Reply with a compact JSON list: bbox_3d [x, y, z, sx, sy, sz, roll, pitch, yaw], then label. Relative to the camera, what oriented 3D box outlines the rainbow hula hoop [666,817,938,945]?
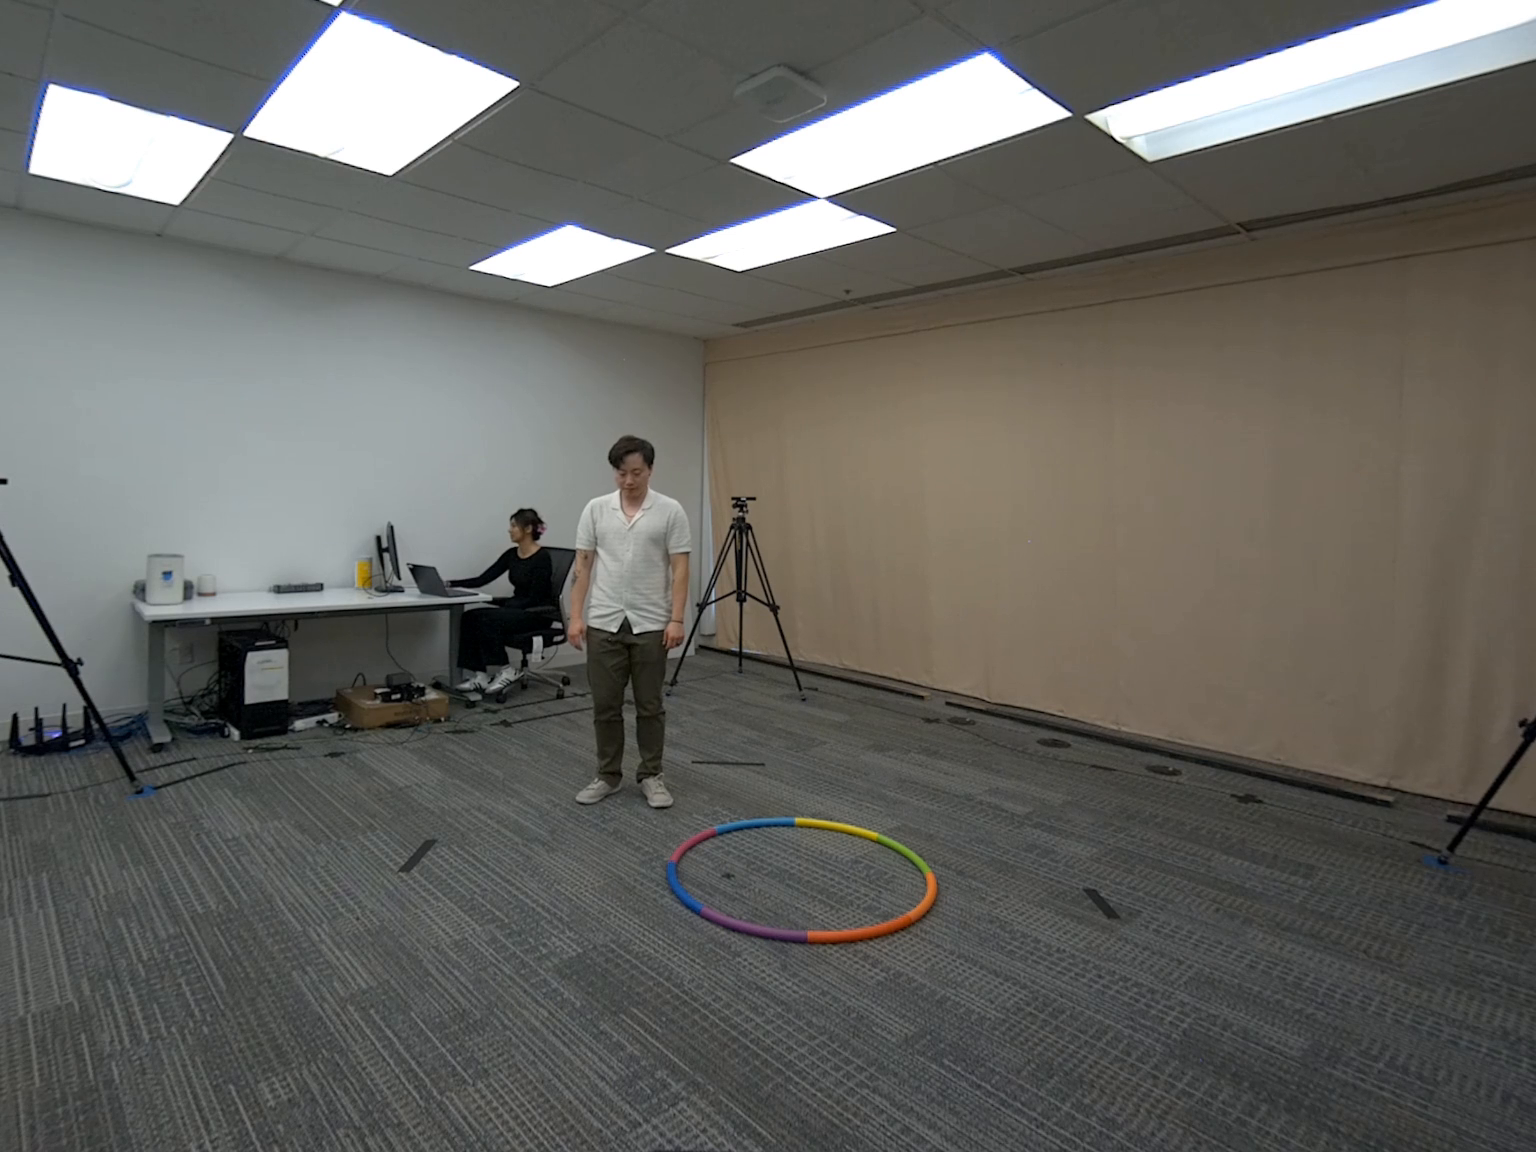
[{"bbox_3d":[0.112,1.081,3.125,0.978,0.035,0.982,1,5,-1],"label":"rainbow hula hoop"}]
